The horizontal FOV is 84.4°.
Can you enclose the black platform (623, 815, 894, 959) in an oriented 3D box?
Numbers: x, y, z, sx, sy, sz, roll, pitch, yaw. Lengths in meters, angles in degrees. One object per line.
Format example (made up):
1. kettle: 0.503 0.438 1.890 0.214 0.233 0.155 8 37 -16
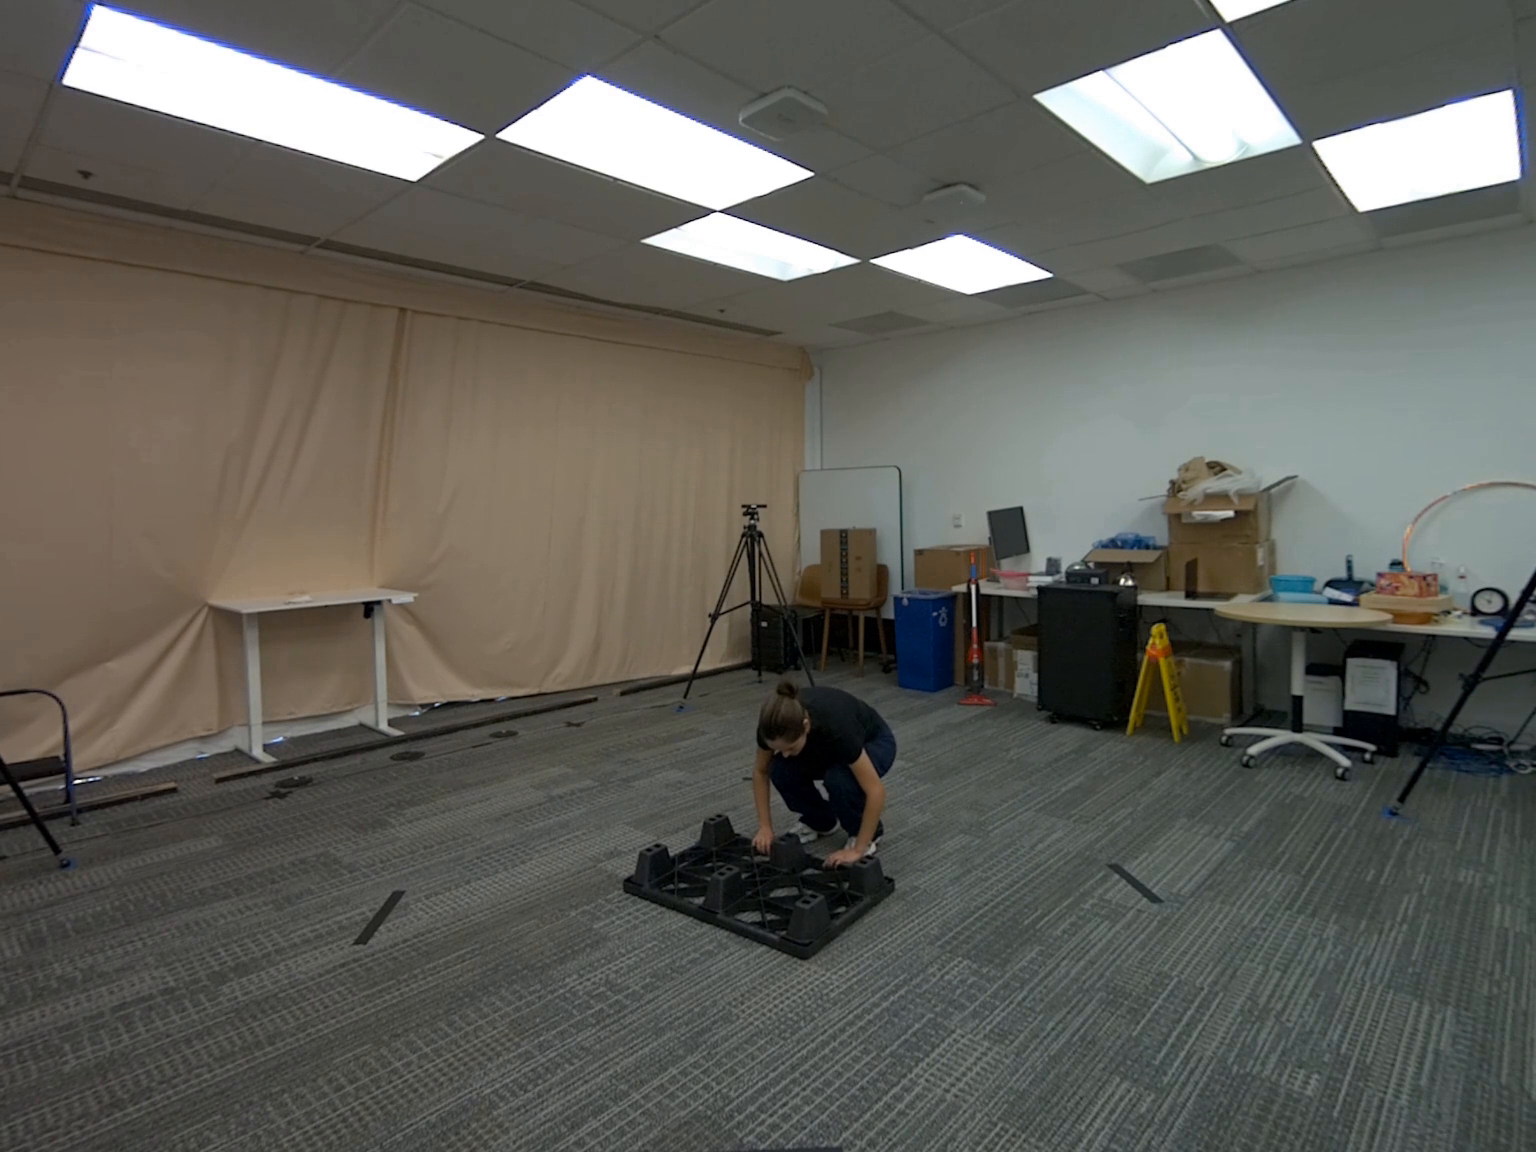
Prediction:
1. black platform: -0.020 1.070 3.037 0.831 0.143 0.588 3 7 37
